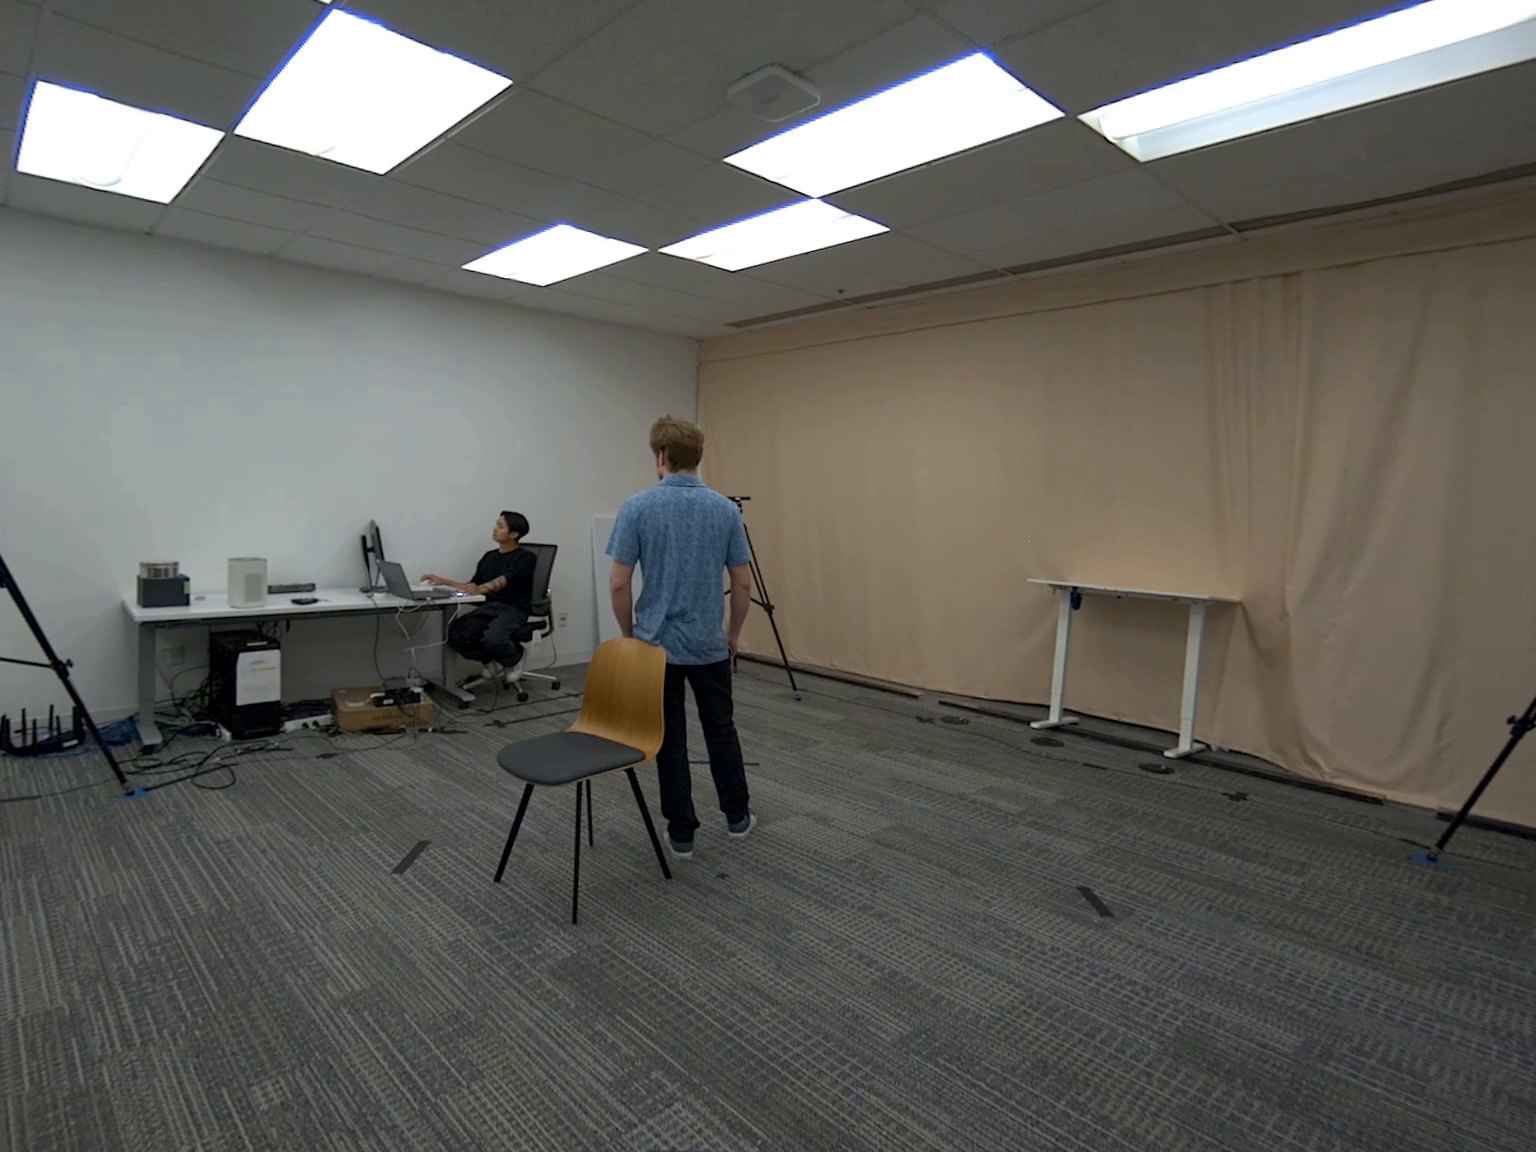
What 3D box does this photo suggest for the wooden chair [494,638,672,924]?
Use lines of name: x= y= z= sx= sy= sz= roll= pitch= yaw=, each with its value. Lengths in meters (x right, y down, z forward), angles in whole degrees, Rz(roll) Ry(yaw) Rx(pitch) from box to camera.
wooden chair: x=-0.664 y=0.678 z=2.998 sx=0.490 sy=0.877 sz=0.510 roll=4 pitch=0 yaw=39
